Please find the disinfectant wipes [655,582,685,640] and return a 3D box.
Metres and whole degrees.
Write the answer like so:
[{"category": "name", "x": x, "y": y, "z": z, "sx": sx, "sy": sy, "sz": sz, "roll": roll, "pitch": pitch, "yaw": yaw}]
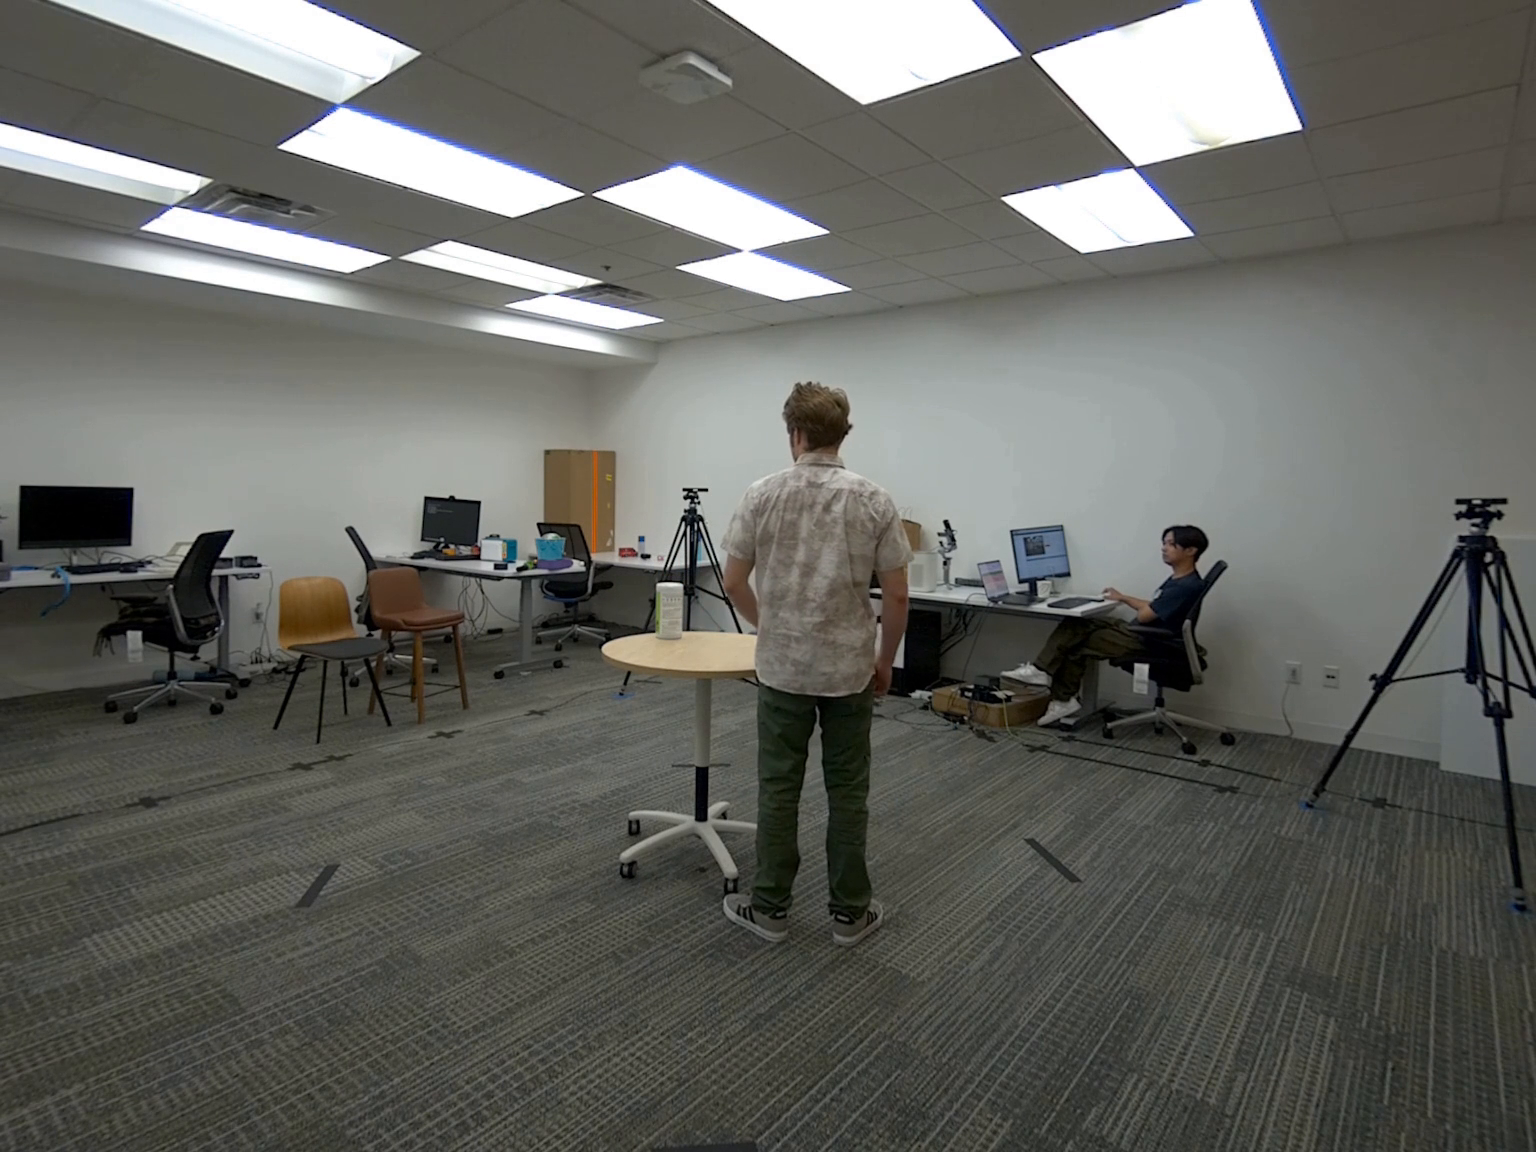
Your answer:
[{"category": "disinfectant wipes", "x": -0.403, "y": 0.136, "z": 3.408, "sx": 0.118, "sy": 0.216, "sz": 0.118, "roll": -1, "pitch": 4, "yaw": -2}]
